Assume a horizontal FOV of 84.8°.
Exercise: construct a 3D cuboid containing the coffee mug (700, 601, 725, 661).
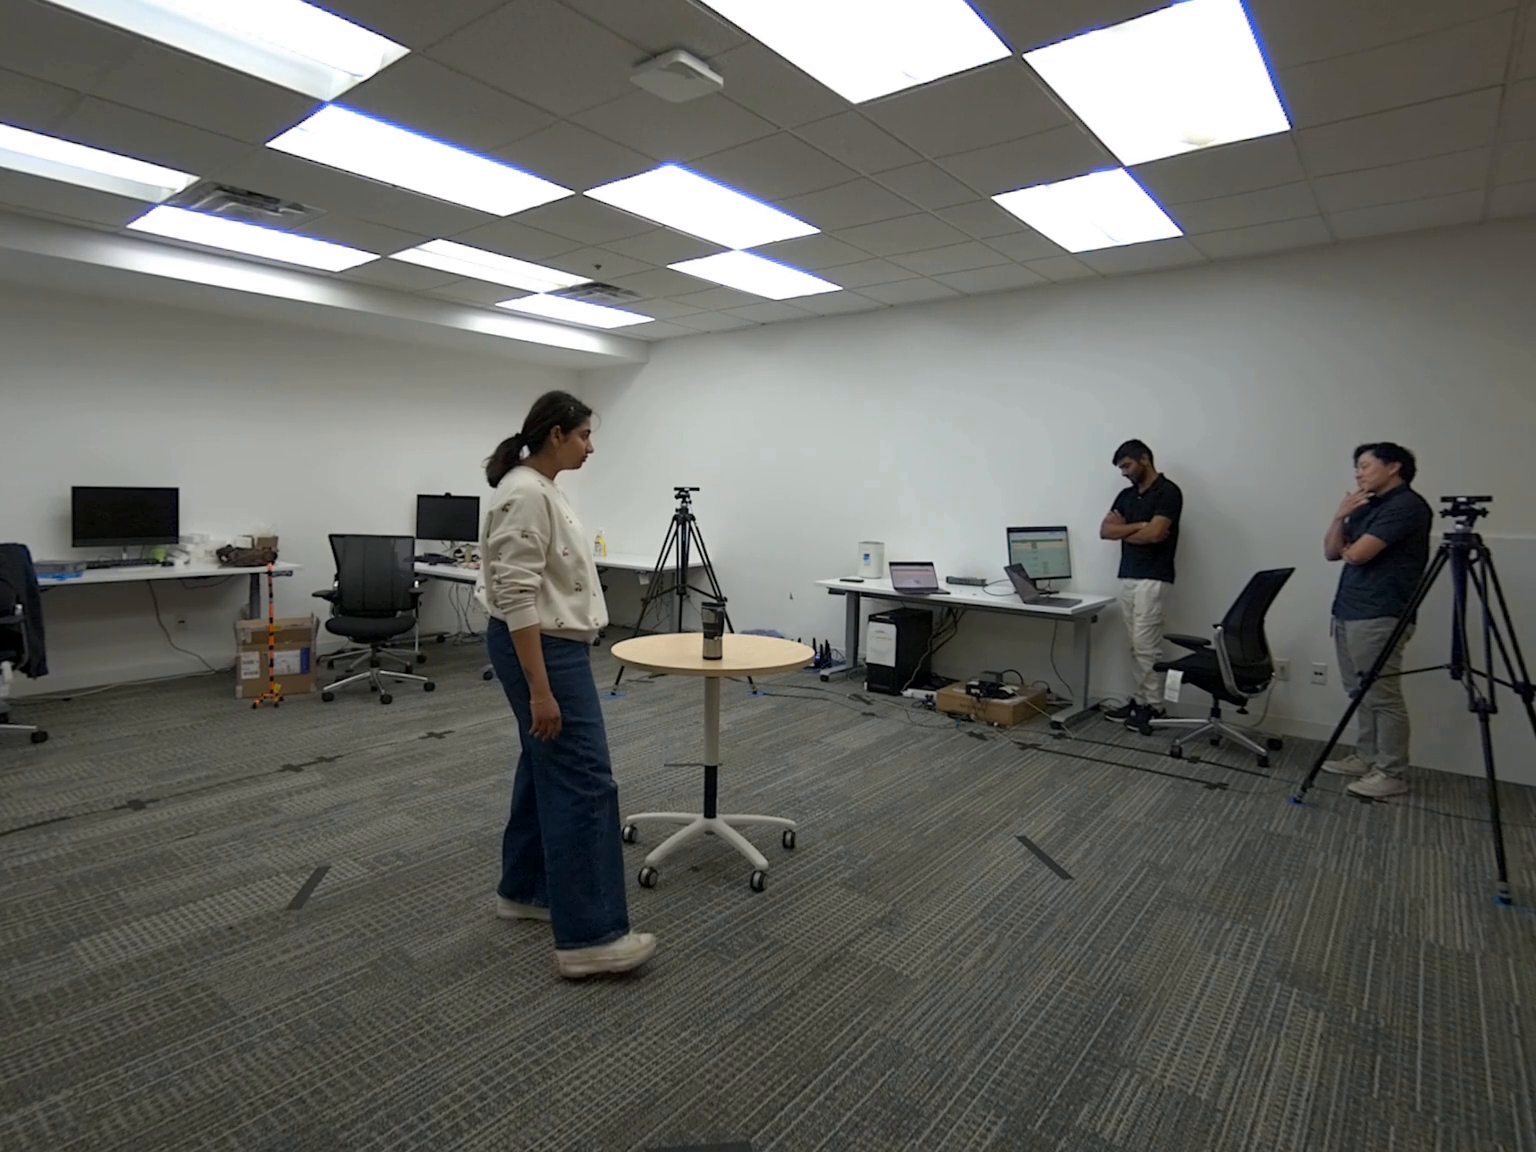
[{"bbox_3d":[-0.215,0.196,2.988,0.089,0.202,0.120,4,3,12],"label":"coffee mug"}]
